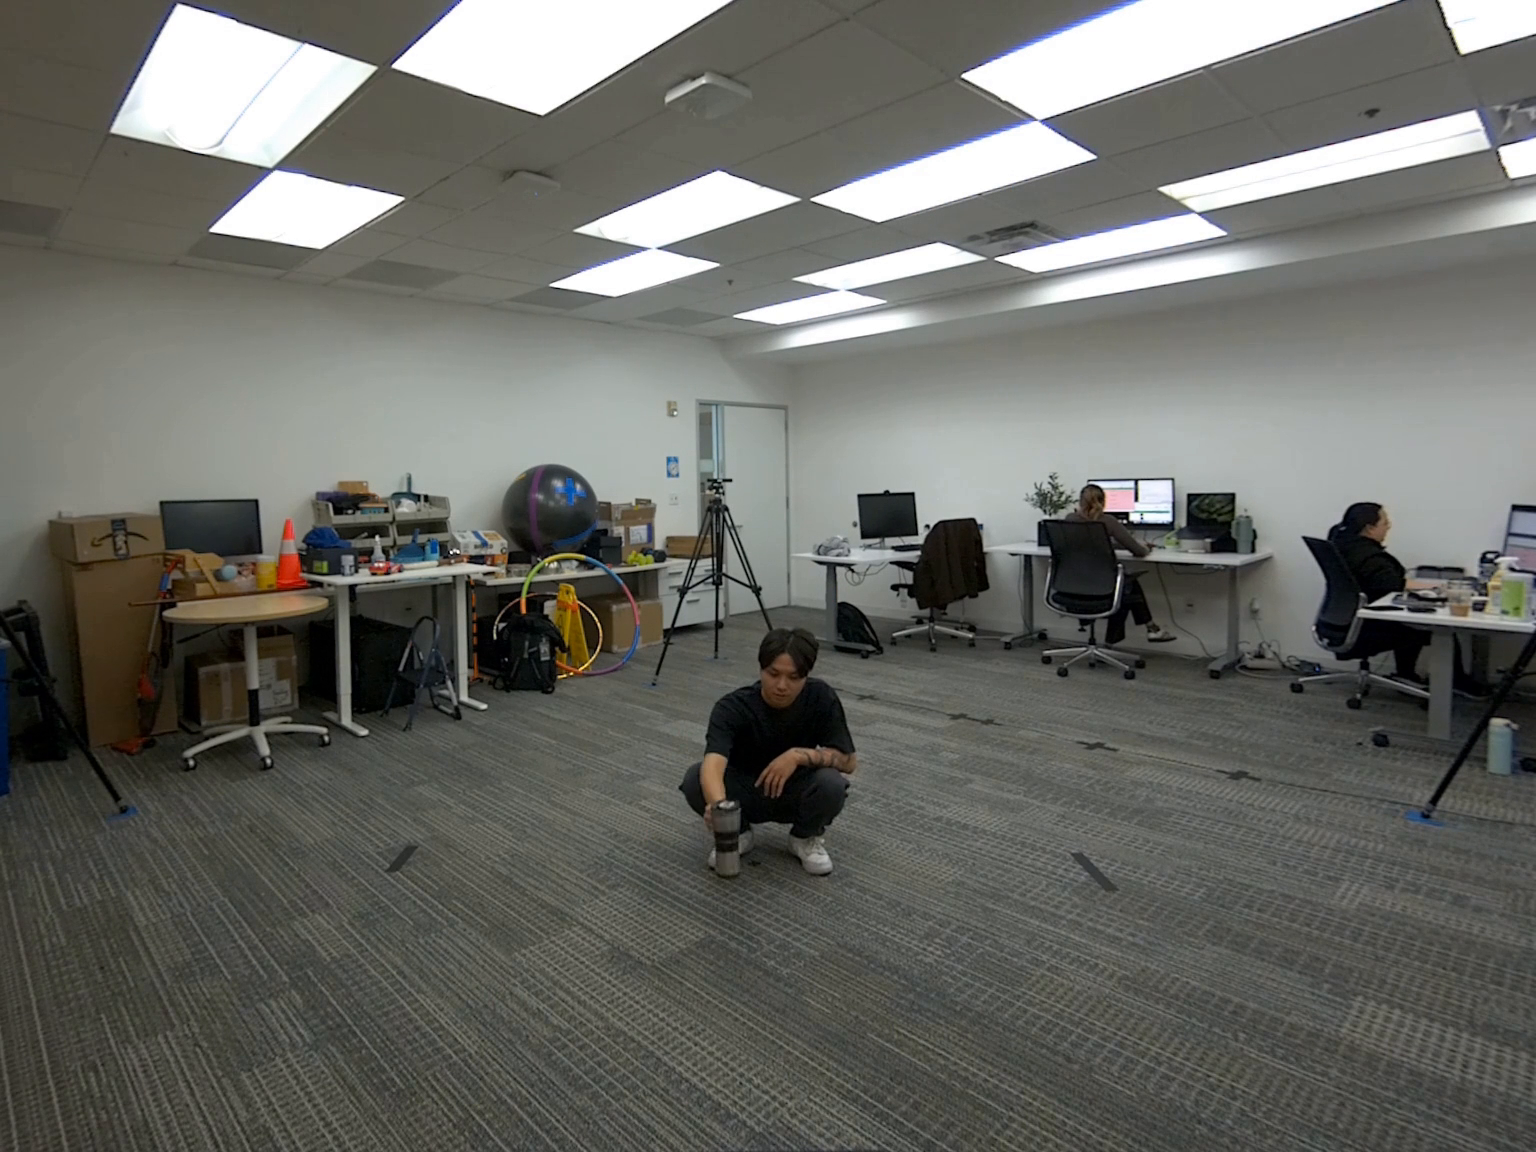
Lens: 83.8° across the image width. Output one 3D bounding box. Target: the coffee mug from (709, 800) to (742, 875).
[{"bbox_3d":[-0.104,0.715,2.489,0.119,0.203,0.090,-8,-3,-36],"label":"coffee mug"}]
